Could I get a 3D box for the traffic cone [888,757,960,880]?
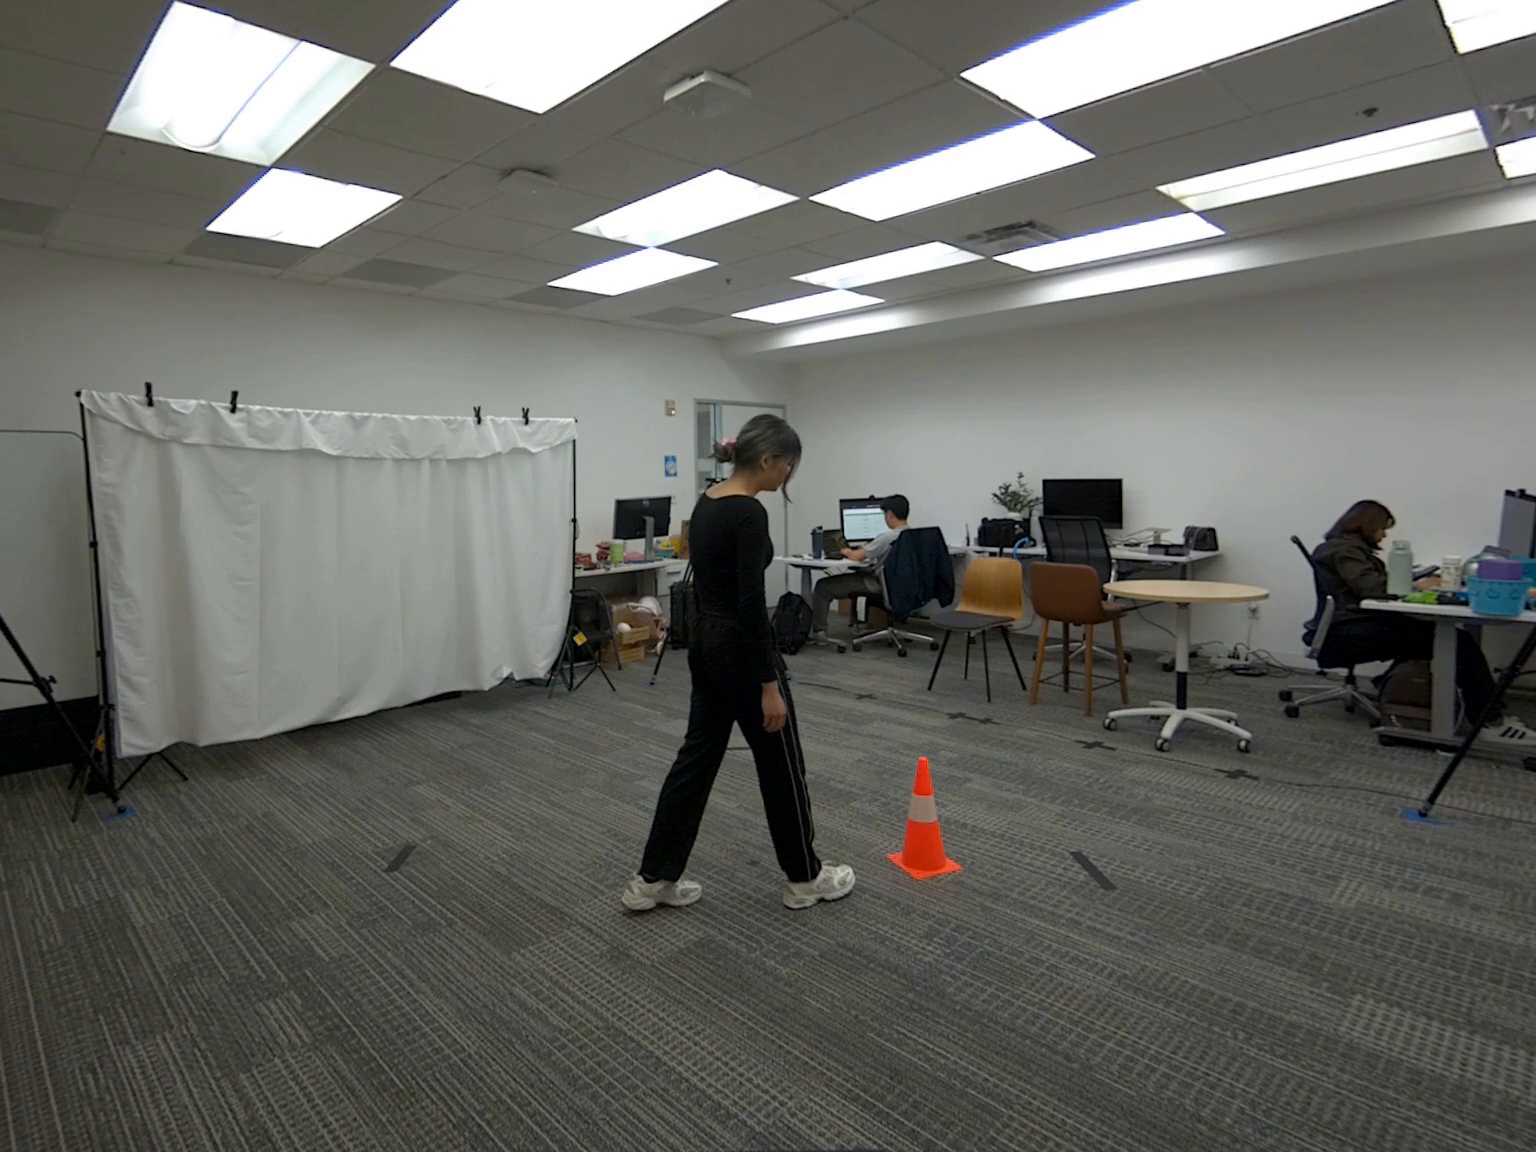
[{"bbox_3d":[0.568,0.851,3.075,0.201,0.382,0.208,-1,4,-22],"label":"traffic cone"}]
